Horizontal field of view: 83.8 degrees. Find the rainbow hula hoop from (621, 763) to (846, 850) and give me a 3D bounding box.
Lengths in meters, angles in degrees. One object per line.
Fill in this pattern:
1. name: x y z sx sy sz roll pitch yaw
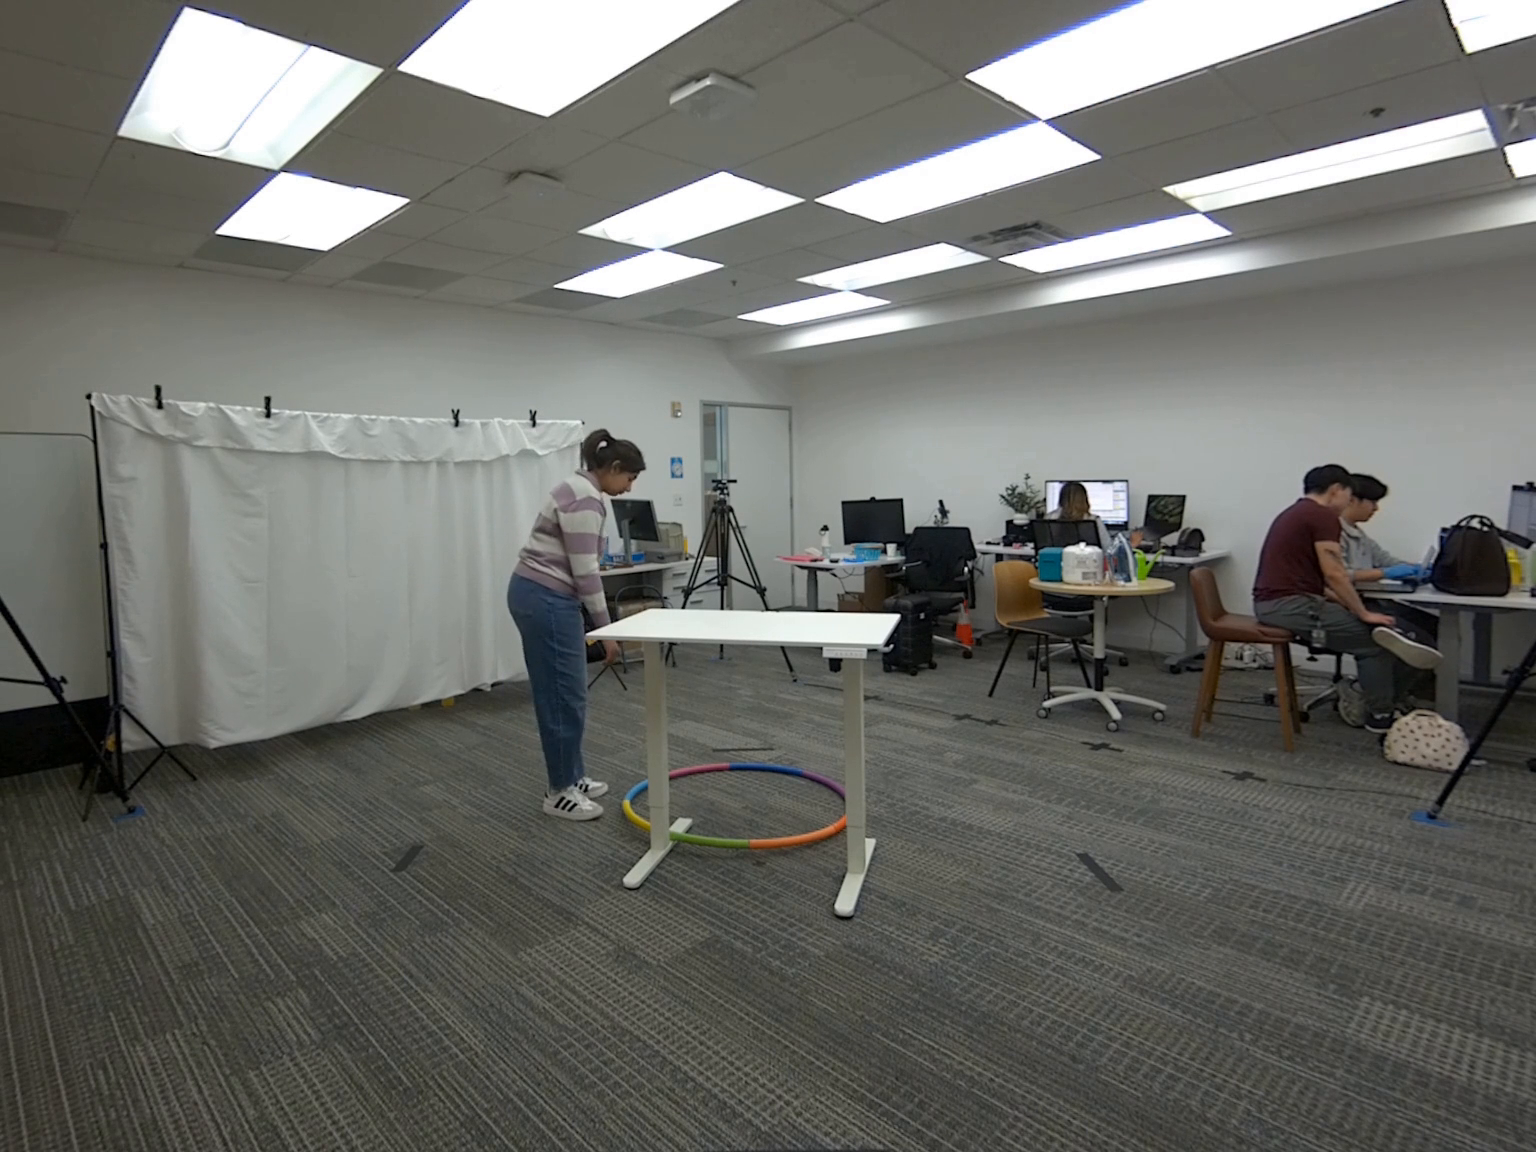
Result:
1. rainbow hula hoop: -0.125 0.957 3.661 0.978 0.035 0.983 0 5 -2
